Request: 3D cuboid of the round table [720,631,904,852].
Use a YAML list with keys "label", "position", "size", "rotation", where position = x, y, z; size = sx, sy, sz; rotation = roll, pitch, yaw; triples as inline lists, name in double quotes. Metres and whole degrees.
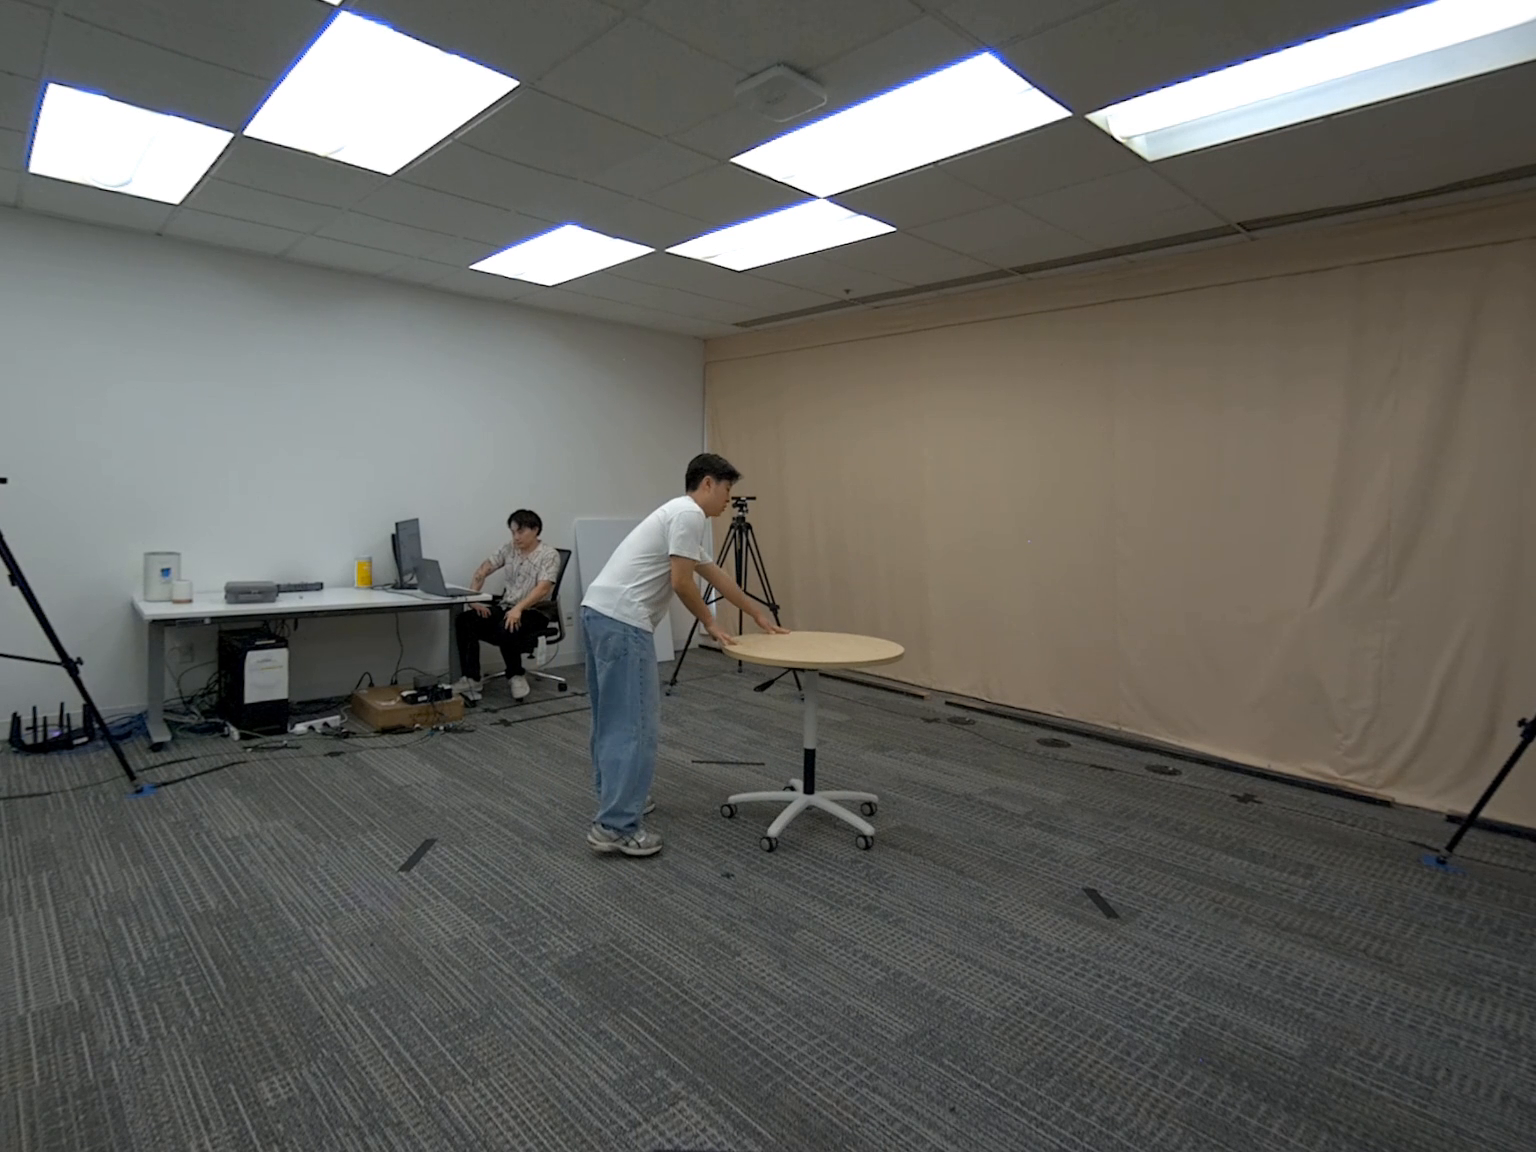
- label: "round table"
  position: [0.163, 0.685, 3.592]
  size: [0.763, 0.792, 0.766]
  rotation: [1, 3, -1]
